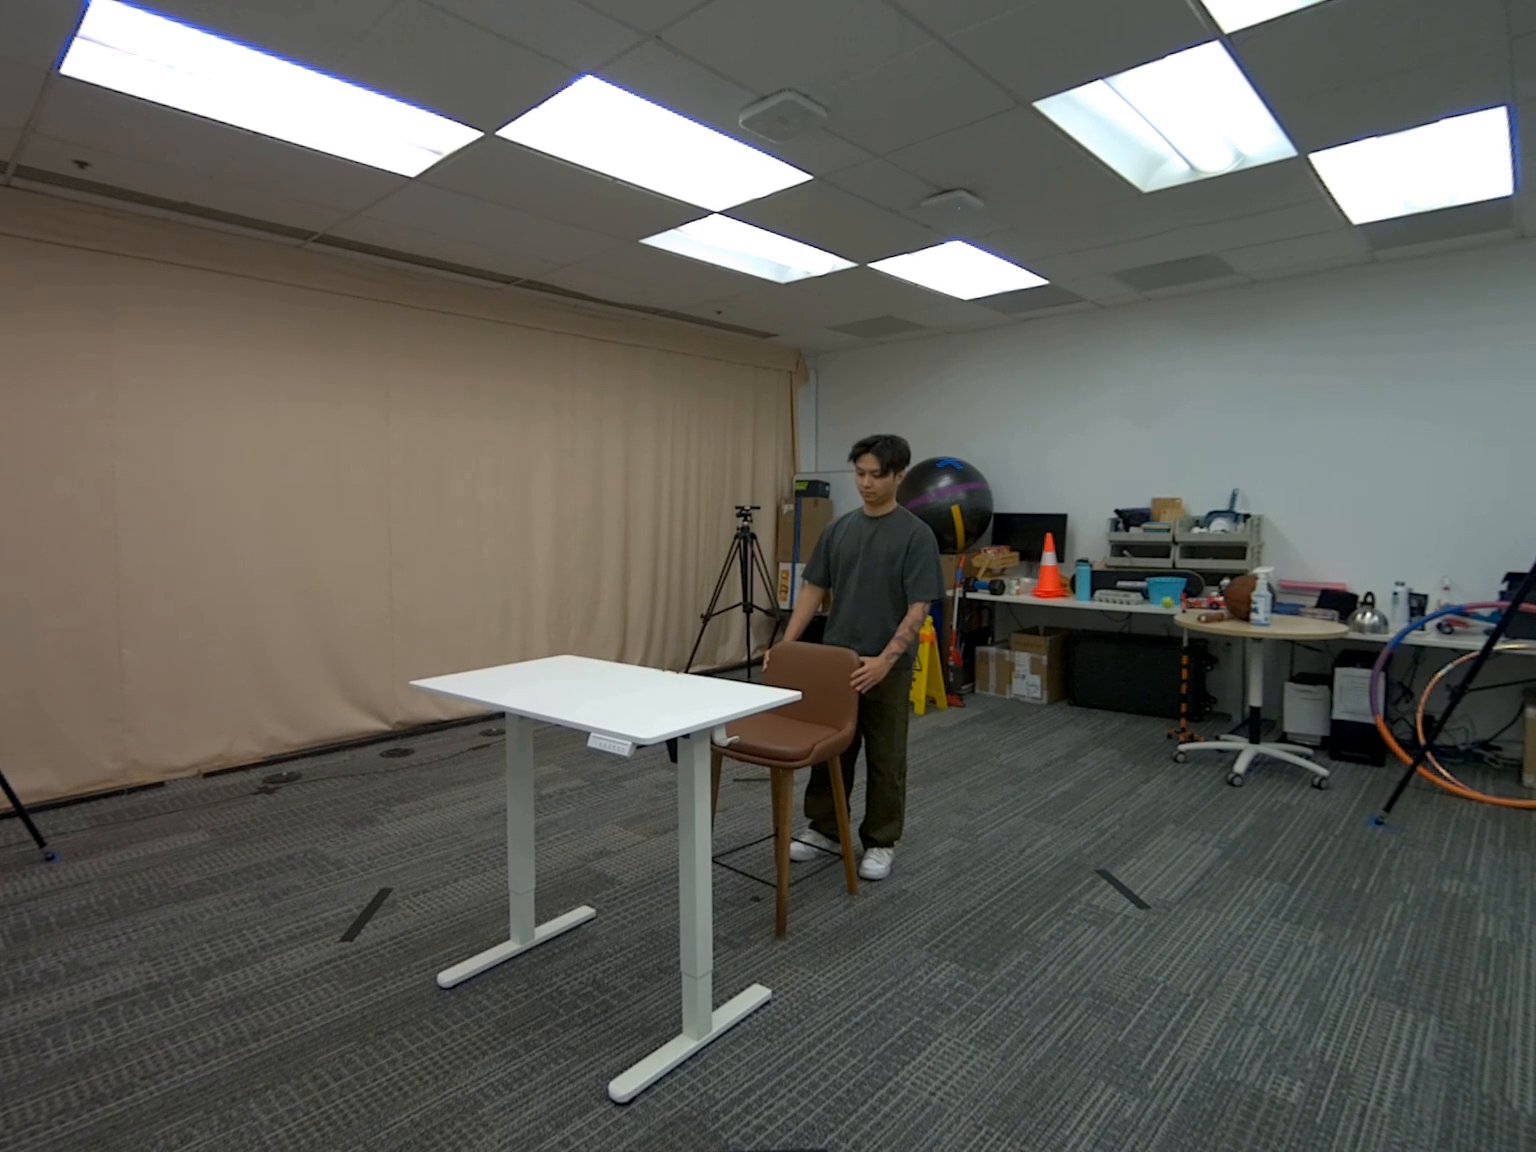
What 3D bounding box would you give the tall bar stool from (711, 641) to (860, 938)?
[{"bbox_3d":[0.045,0.707,2.981,0.472,0.889,0.453,3,2,42],"label":"tall bar stool"}]
